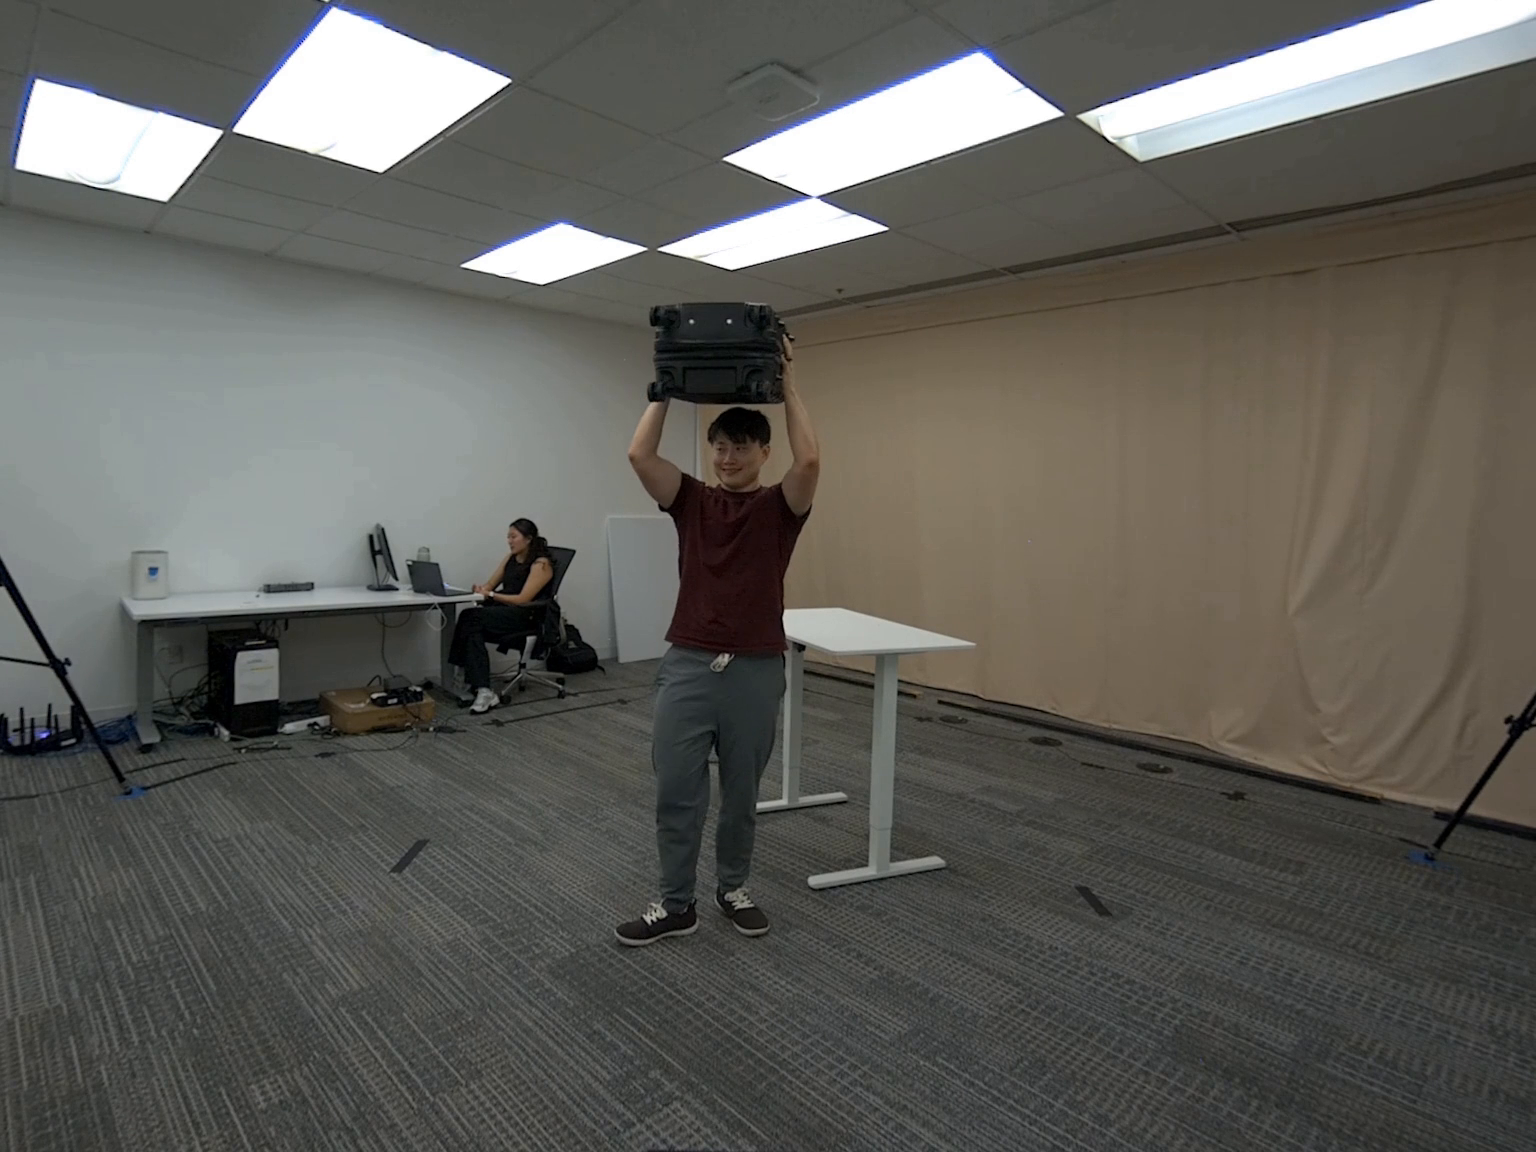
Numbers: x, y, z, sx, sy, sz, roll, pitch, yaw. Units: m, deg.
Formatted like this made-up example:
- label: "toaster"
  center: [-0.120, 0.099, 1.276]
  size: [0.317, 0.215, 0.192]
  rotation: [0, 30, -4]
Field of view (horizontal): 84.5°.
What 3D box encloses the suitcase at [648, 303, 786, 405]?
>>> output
- label: "suitcase"
  center: [-0.109, -0.678, 2.728]
  size: [0.387, 0.256, 0.975]
  rotation: [2, 6, 8]
